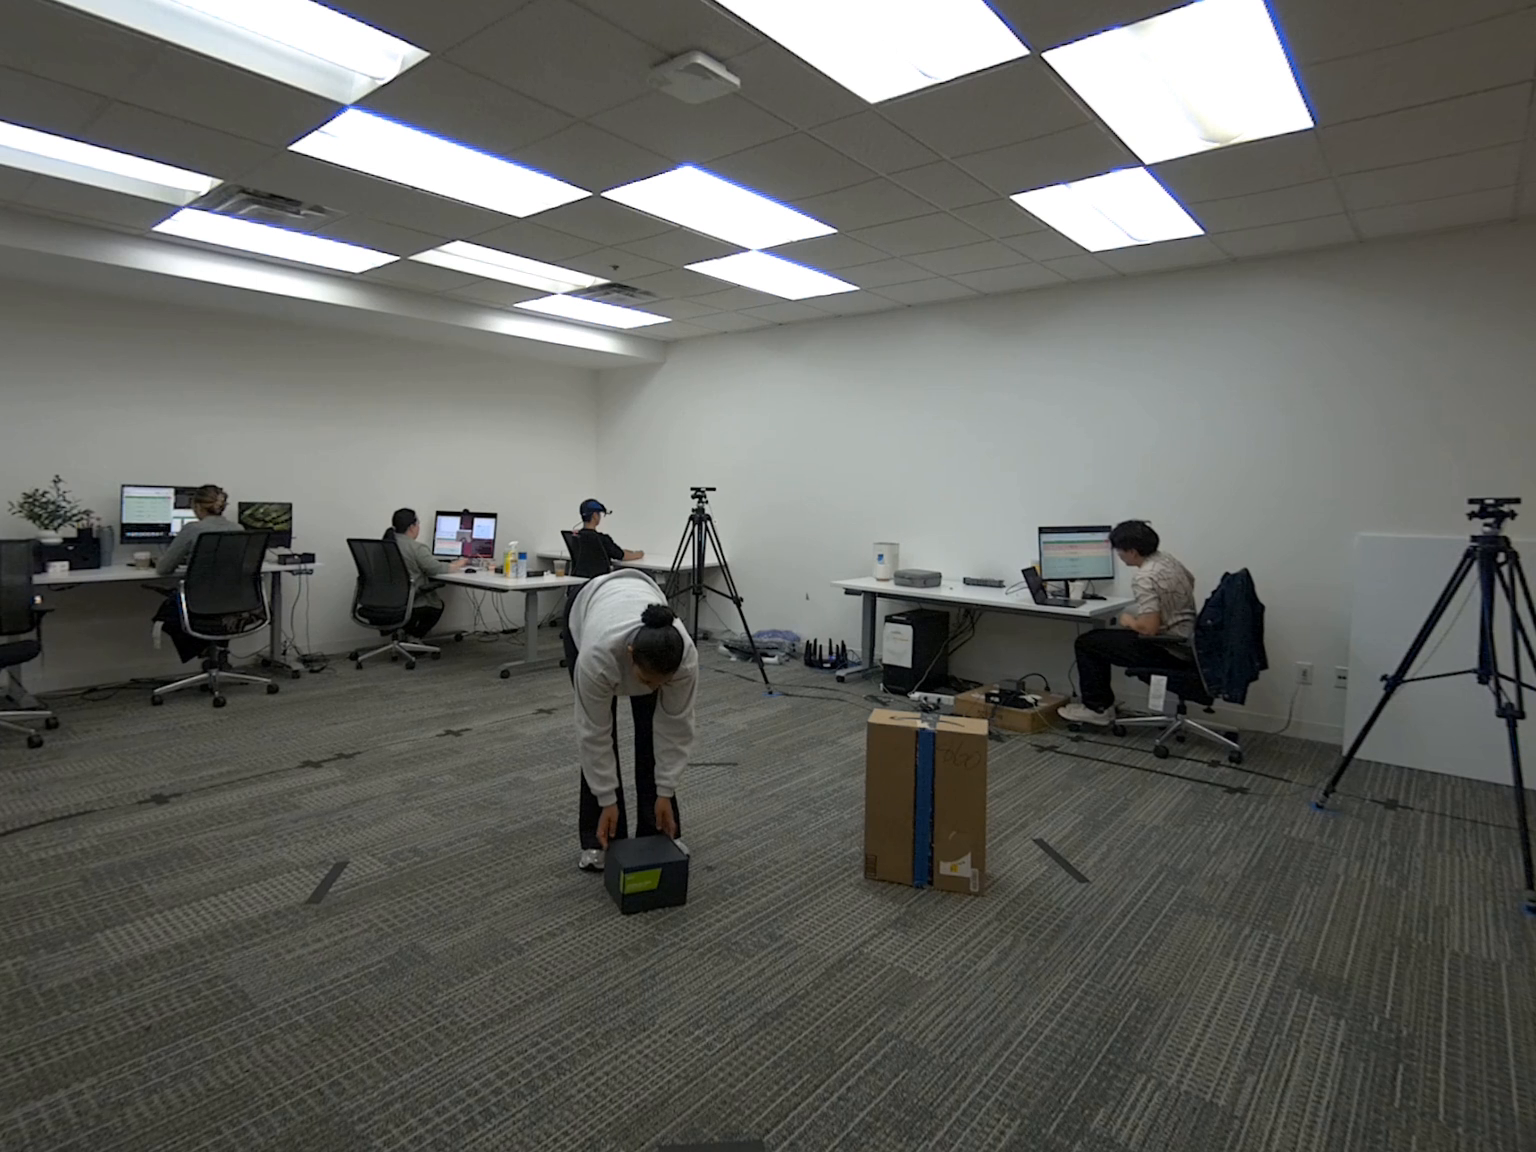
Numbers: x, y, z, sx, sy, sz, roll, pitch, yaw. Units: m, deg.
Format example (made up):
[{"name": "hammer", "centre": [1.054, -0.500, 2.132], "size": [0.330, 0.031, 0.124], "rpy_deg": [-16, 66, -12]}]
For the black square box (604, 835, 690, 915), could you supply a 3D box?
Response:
[{"name": "black square box", "centre": [-0.424, 0.993, 2.879], "size": [0.222, 0.155, 0.223], "rpy_deg": [0, 7, -26]}]
